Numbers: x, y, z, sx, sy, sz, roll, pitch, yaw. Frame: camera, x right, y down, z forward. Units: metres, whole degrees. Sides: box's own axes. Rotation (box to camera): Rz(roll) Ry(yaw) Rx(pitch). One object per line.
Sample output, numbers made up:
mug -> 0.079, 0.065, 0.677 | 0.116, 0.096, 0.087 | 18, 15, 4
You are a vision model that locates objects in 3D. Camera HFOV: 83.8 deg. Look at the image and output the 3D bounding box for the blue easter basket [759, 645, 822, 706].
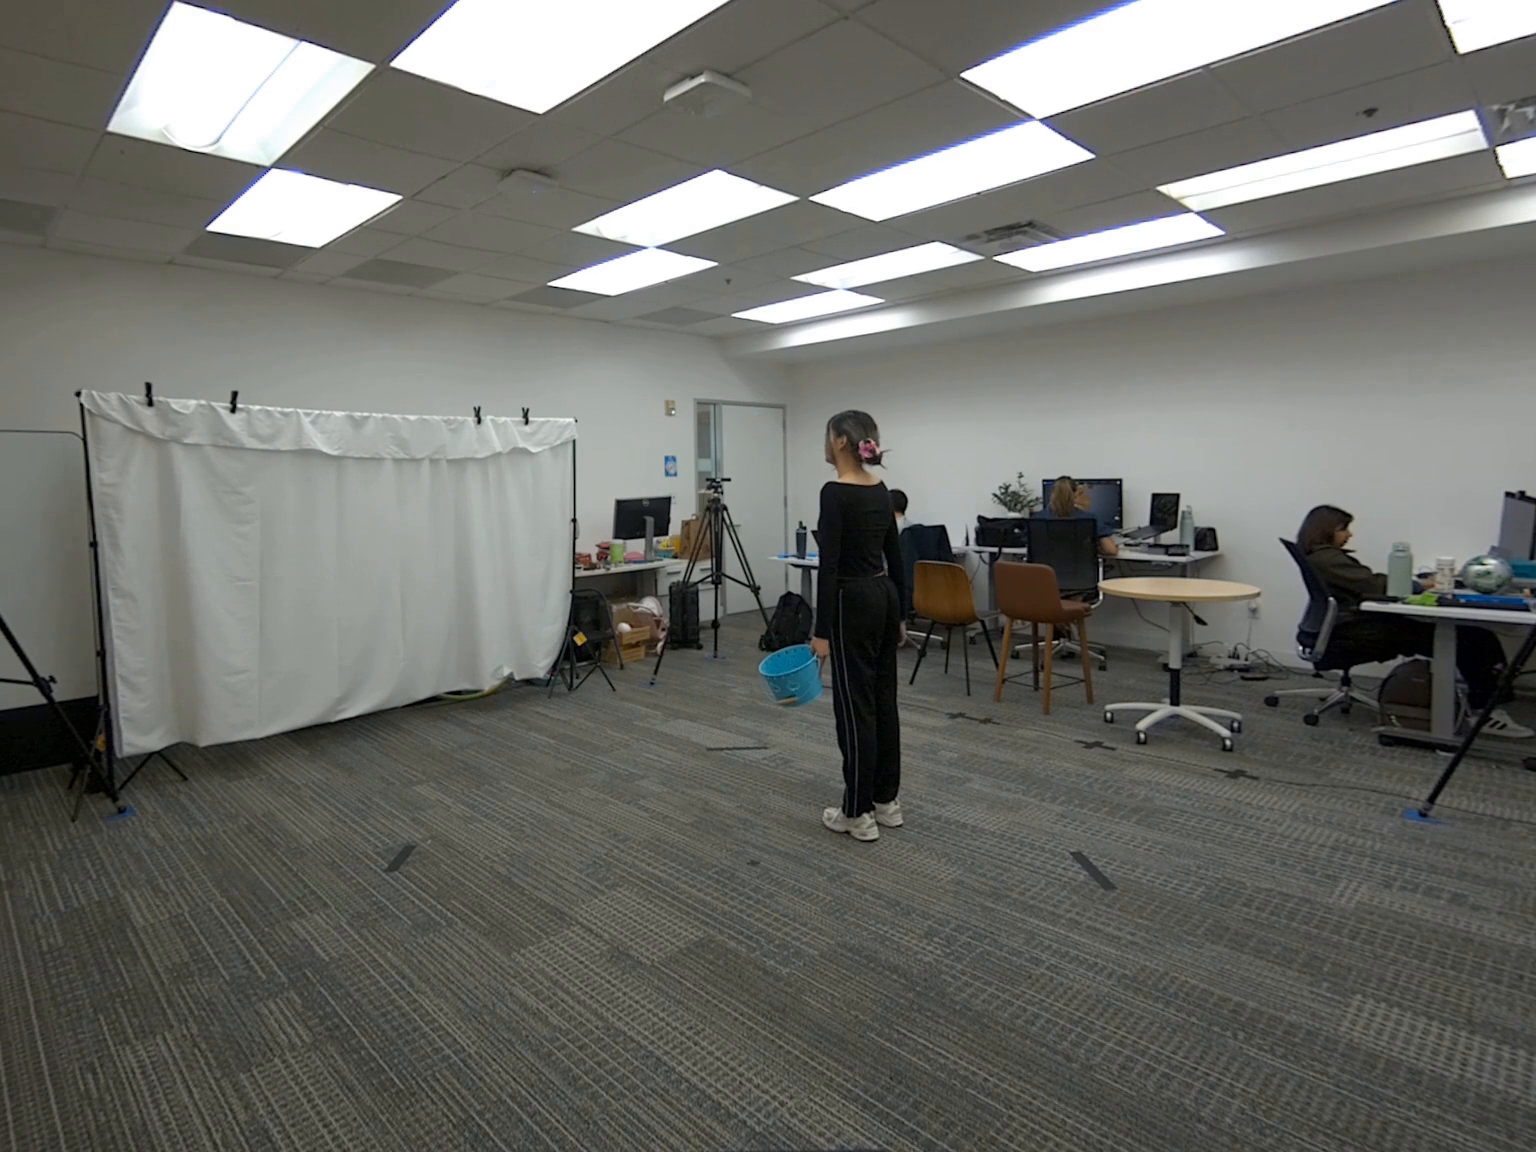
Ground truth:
blue easter basket -> 0.079, 0.380, 3.243 | 0.244, 0.153, 0.247 | -18, 16, 3
